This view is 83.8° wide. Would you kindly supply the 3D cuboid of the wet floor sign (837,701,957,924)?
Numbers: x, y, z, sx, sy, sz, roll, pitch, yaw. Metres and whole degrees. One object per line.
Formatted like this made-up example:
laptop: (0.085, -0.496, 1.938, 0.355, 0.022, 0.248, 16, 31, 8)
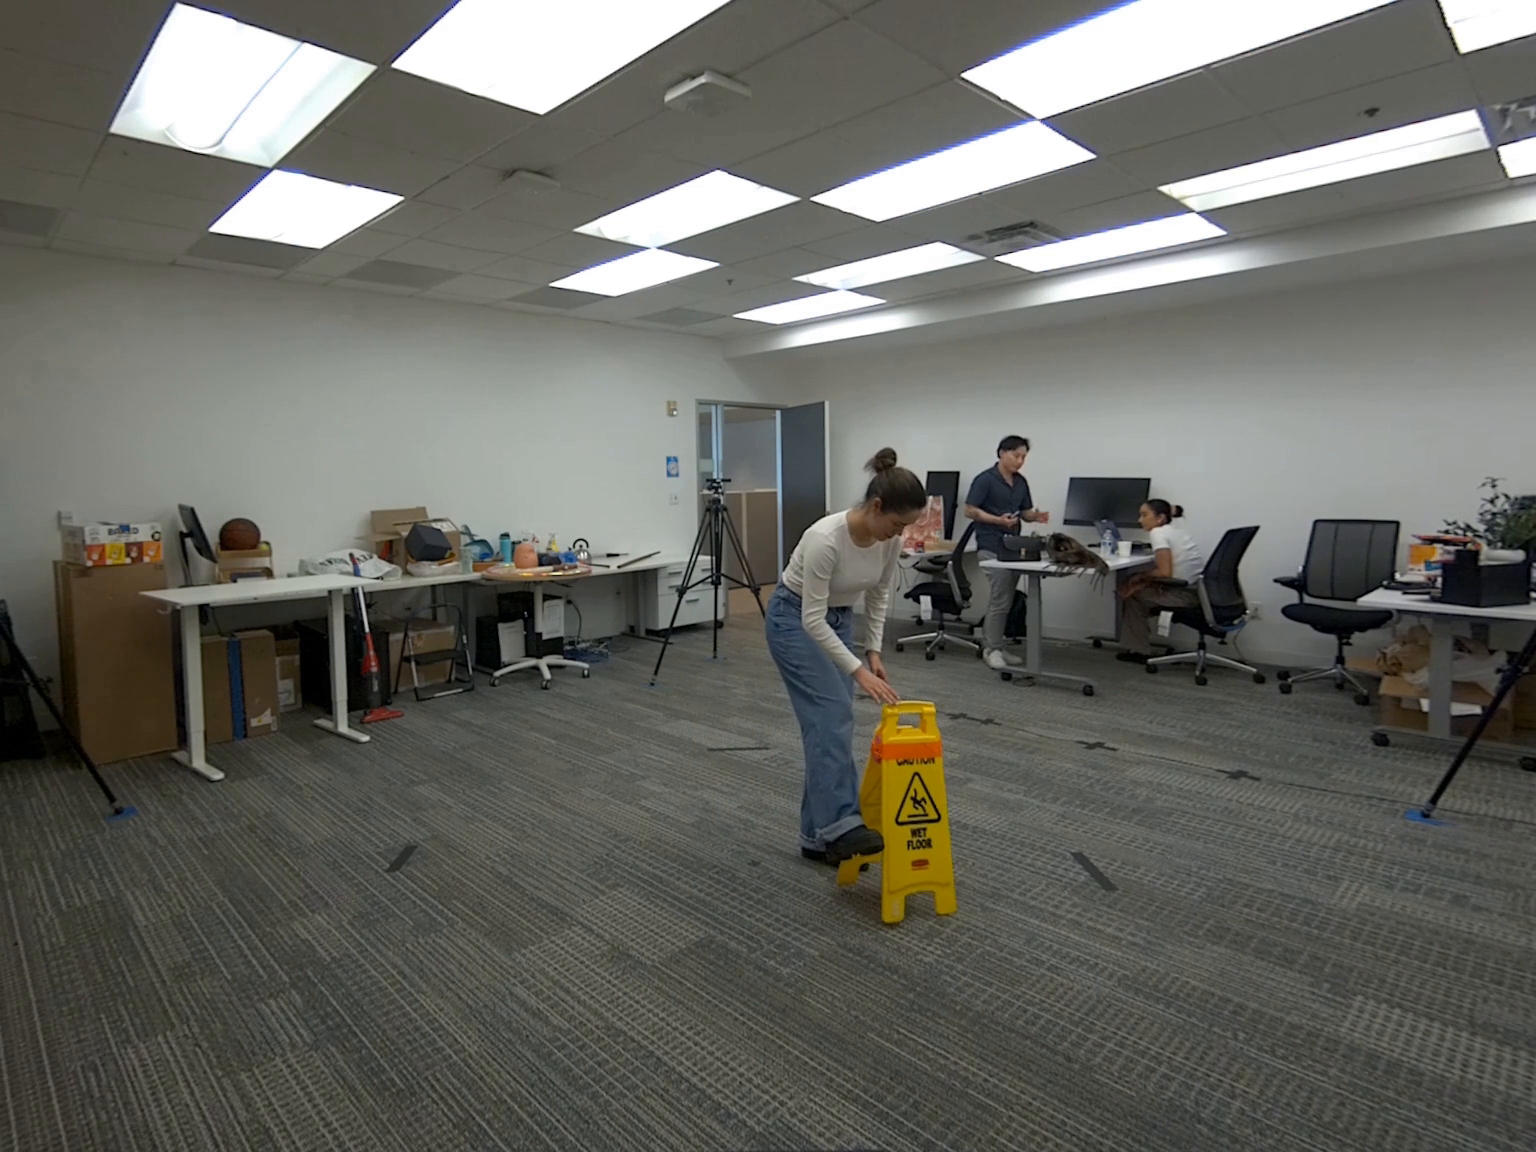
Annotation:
wet floor sign: (0.440, 0.736, 2.805, 0.275, 0.645, 0.297, 4, 1, -27)
